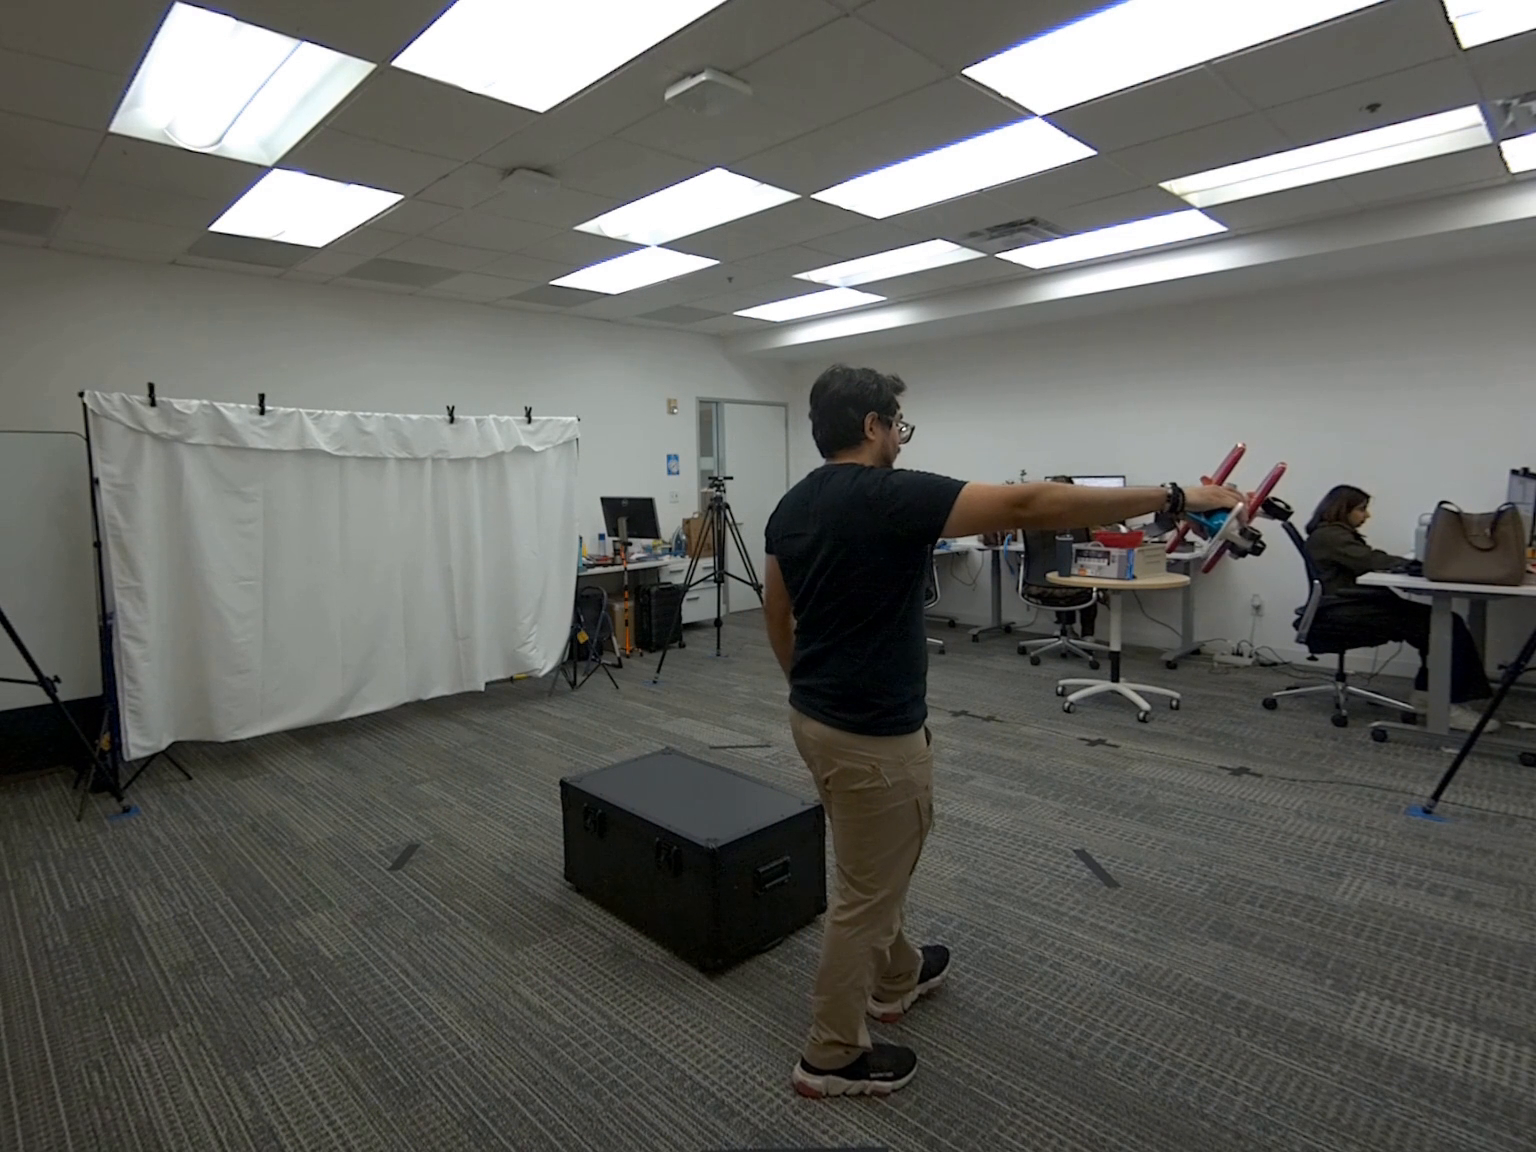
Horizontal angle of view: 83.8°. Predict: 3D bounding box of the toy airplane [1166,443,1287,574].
[{"bbox_3d":[0.907,-0.129,1.648,0.162,0.251,0.250,40,4,31],"label":"toy airplane"}]
